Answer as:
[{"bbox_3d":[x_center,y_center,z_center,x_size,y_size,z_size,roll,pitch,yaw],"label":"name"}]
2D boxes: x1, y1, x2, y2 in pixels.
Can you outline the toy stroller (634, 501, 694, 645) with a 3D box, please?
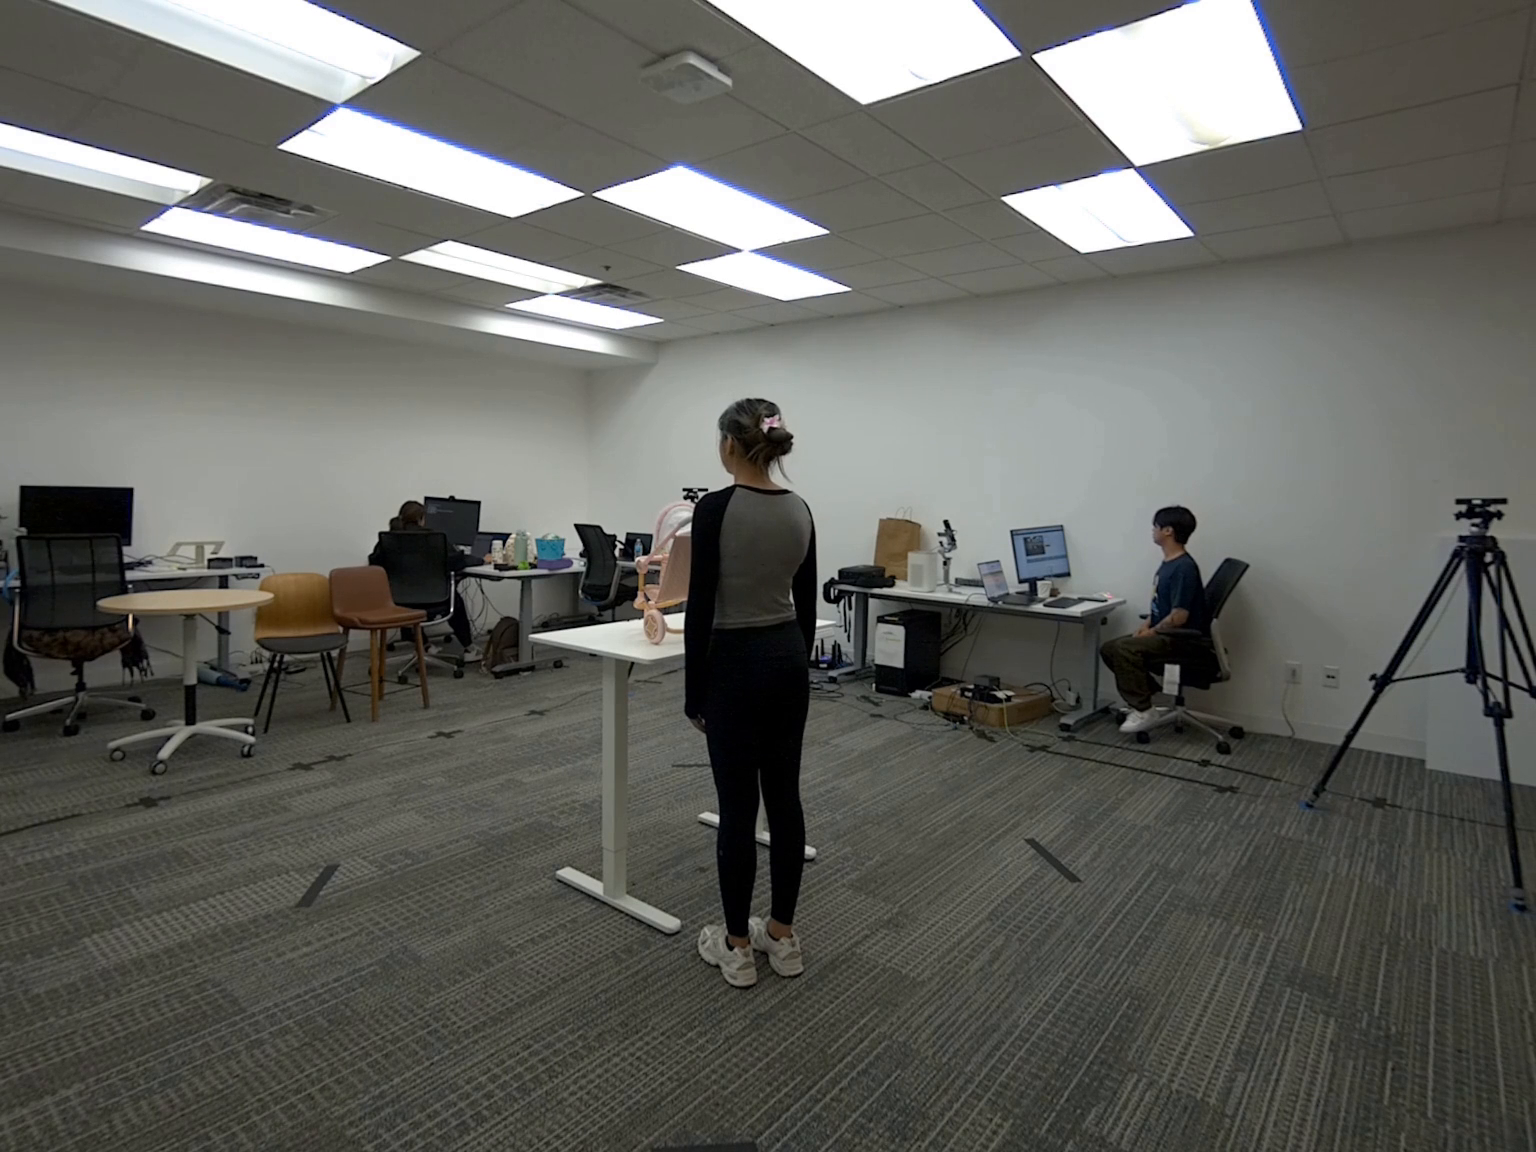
[{"bbox_3d":[-0.312,-0.017,2.877,0.274,0.528,0.355,-2,21,-32],"label":"toy stroller"}]
